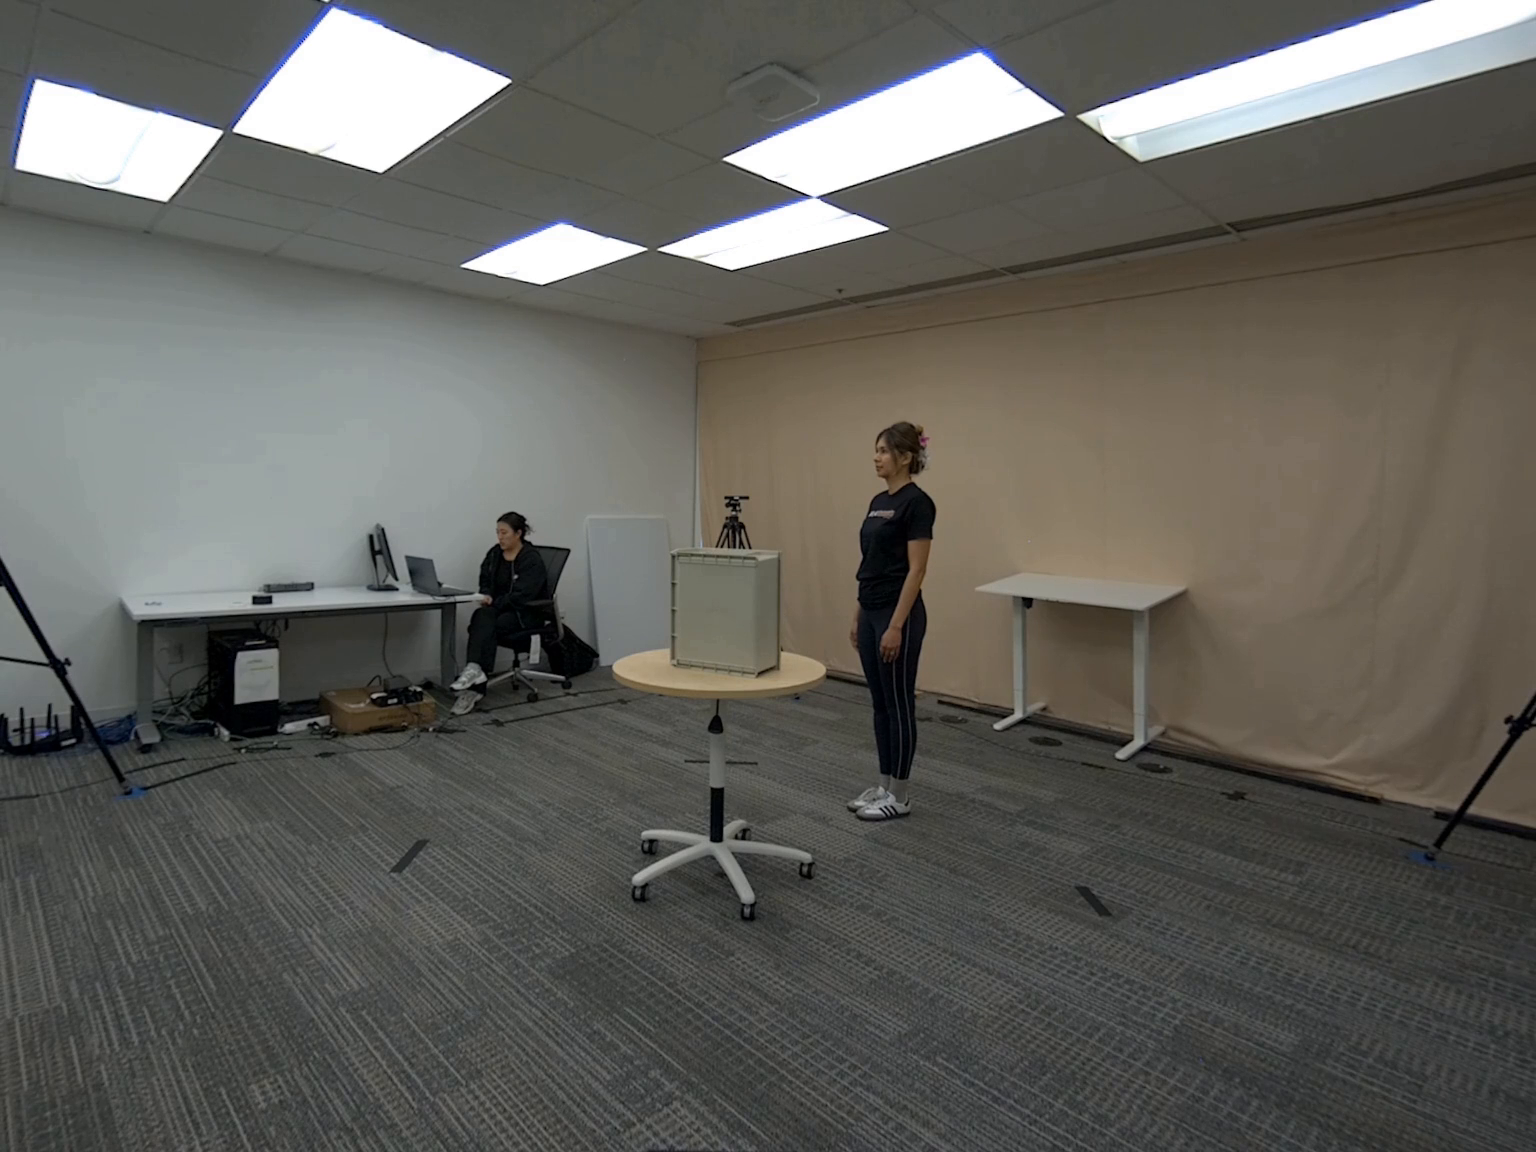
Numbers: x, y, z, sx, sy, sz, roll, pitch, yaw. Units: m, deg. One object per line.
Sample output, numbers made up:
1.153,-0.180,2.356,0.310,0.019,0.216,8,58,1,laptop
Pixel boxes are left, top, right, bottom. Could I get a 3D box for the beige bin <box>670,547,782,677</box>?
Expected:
-0.168,0.121,2.980,0.385,0.421,0.186,3,5,27,beige bin
